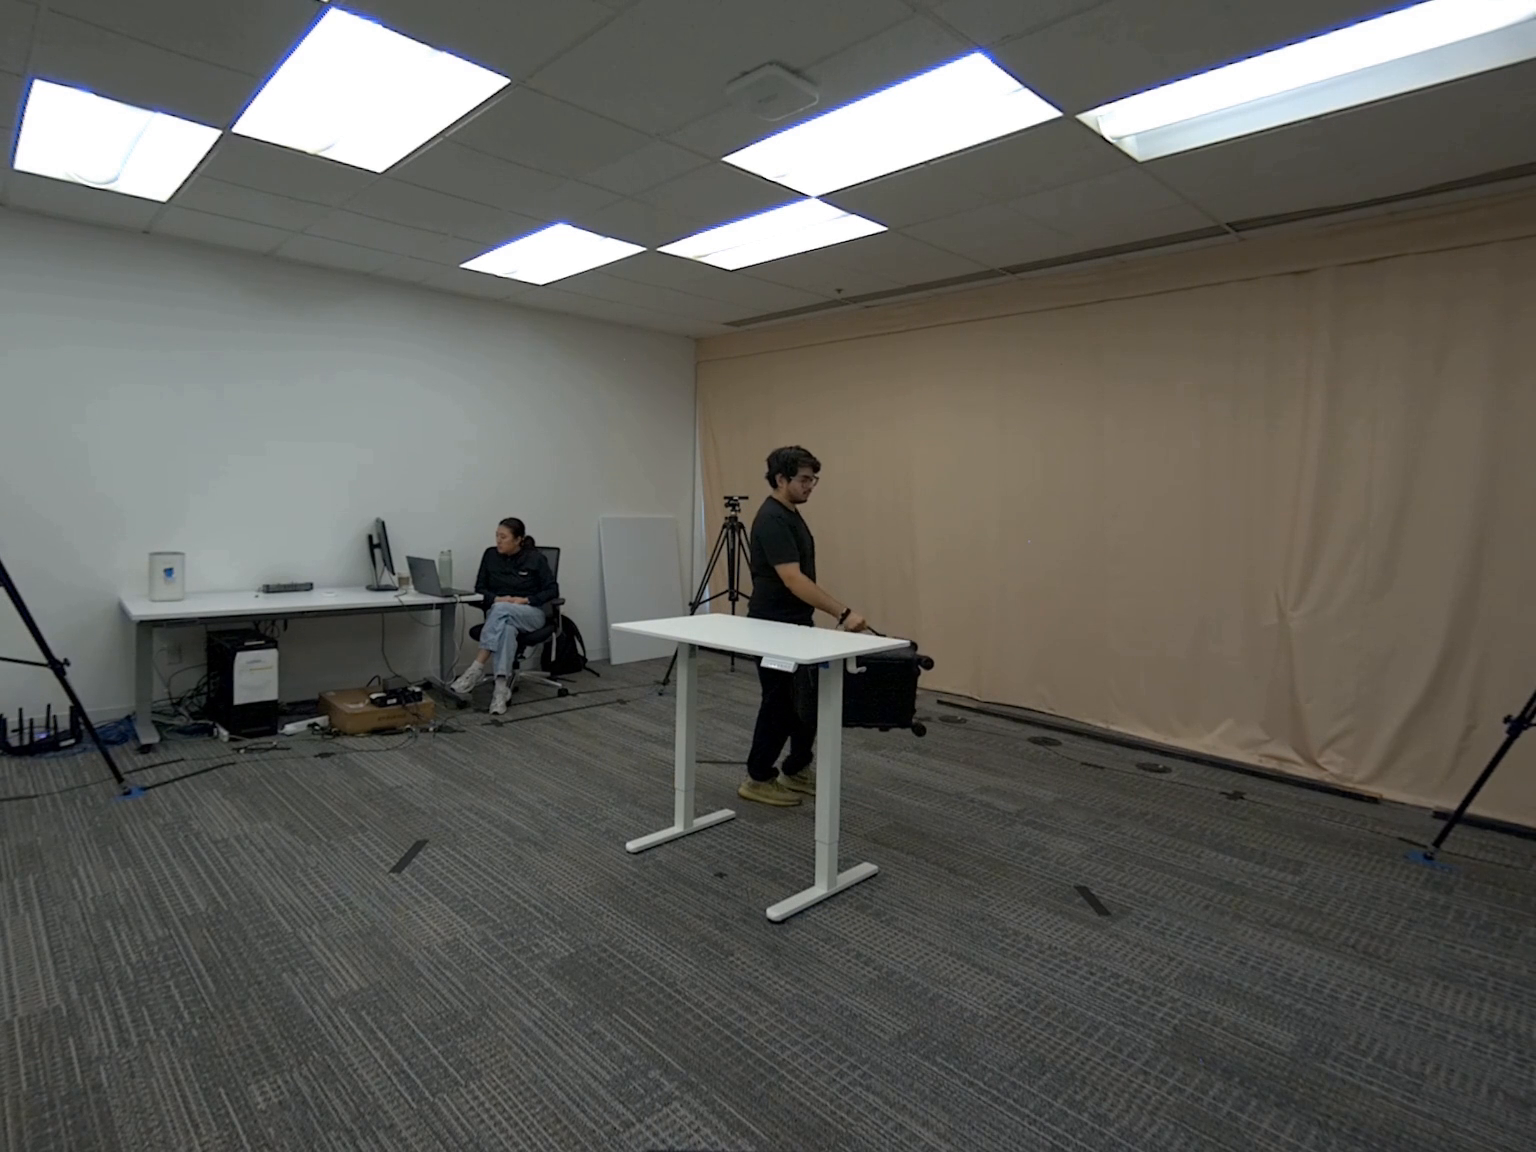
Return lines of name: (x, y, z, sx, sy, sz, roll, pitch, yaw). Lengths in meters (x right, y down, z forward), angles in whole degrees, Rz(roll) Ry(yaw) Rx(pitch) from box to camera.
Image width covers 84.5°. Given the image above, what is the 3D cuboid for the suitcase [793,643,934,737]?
suitcase: (0.380, 0.439, 3.555, 0.546, 0.372, 0.252, 3, 12, -7)
